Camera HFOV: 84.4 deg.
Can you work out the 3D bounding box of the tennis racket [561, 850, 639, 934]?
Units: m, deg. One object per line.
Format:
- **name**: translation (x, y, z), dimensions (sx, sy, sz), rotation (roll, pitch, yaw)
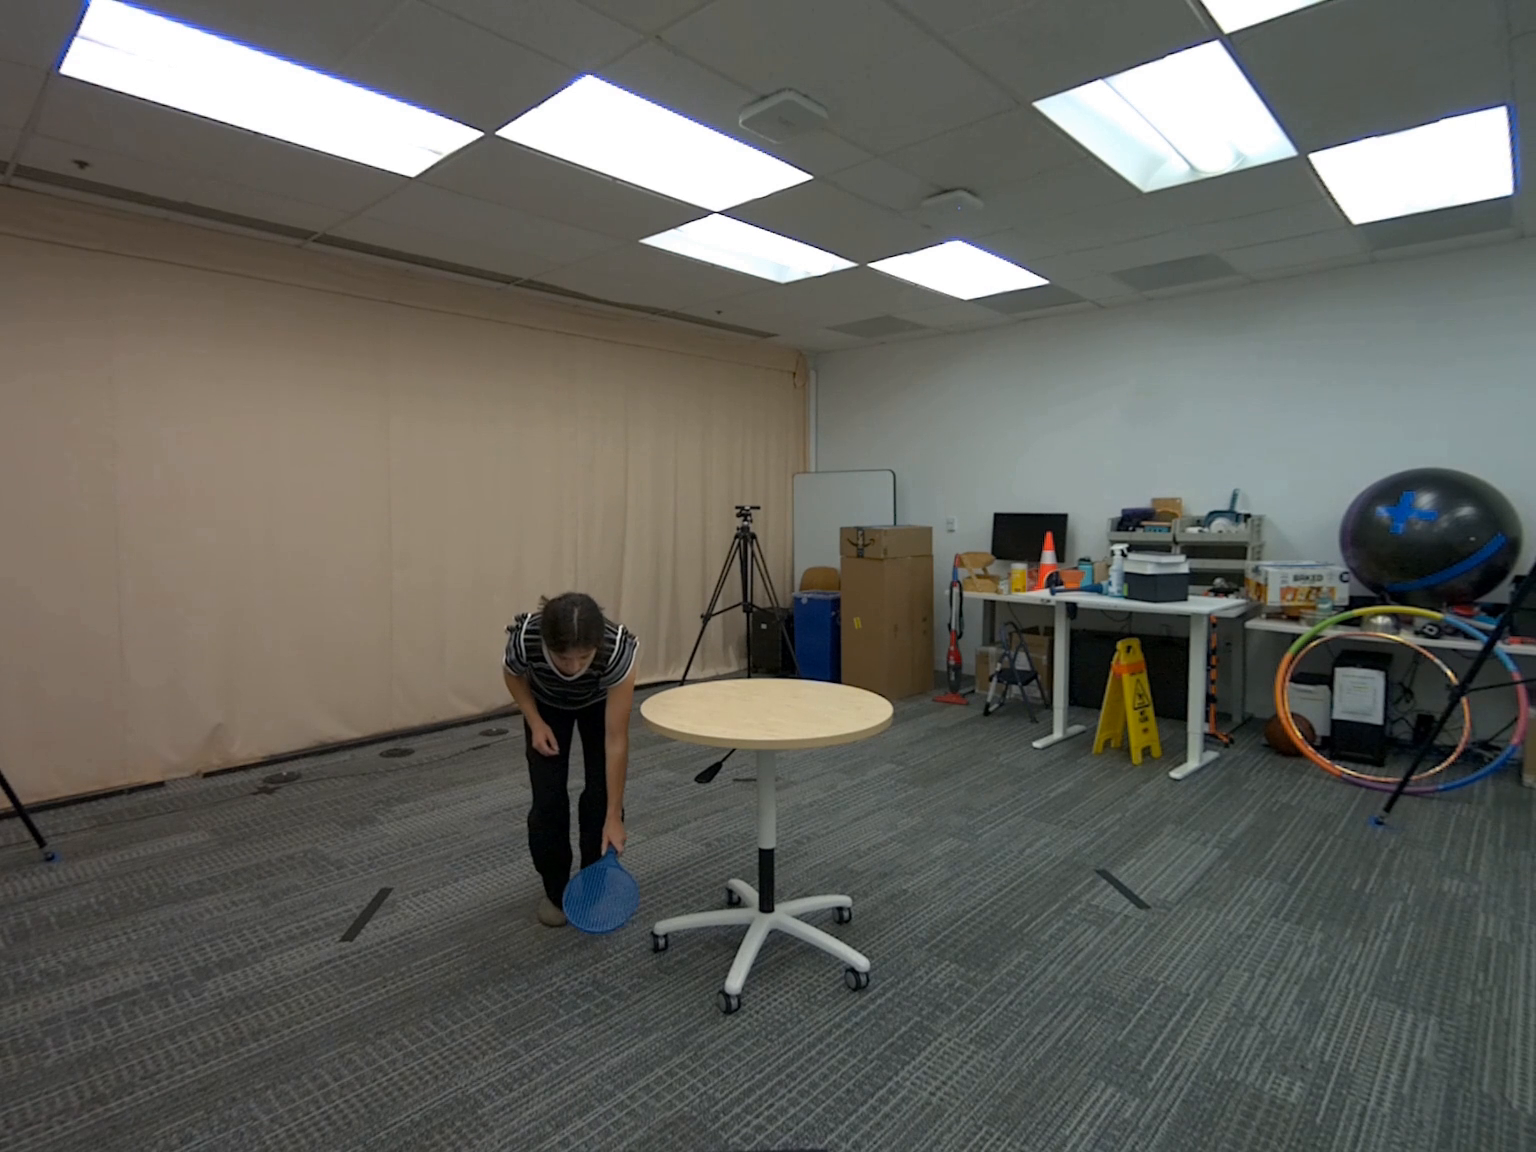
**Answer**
- **tennis racket**: translation (-0.466, 0.871, 2.492), dimensions (0.214, 0.031, 0.437), rotation (4, 20, -1)
